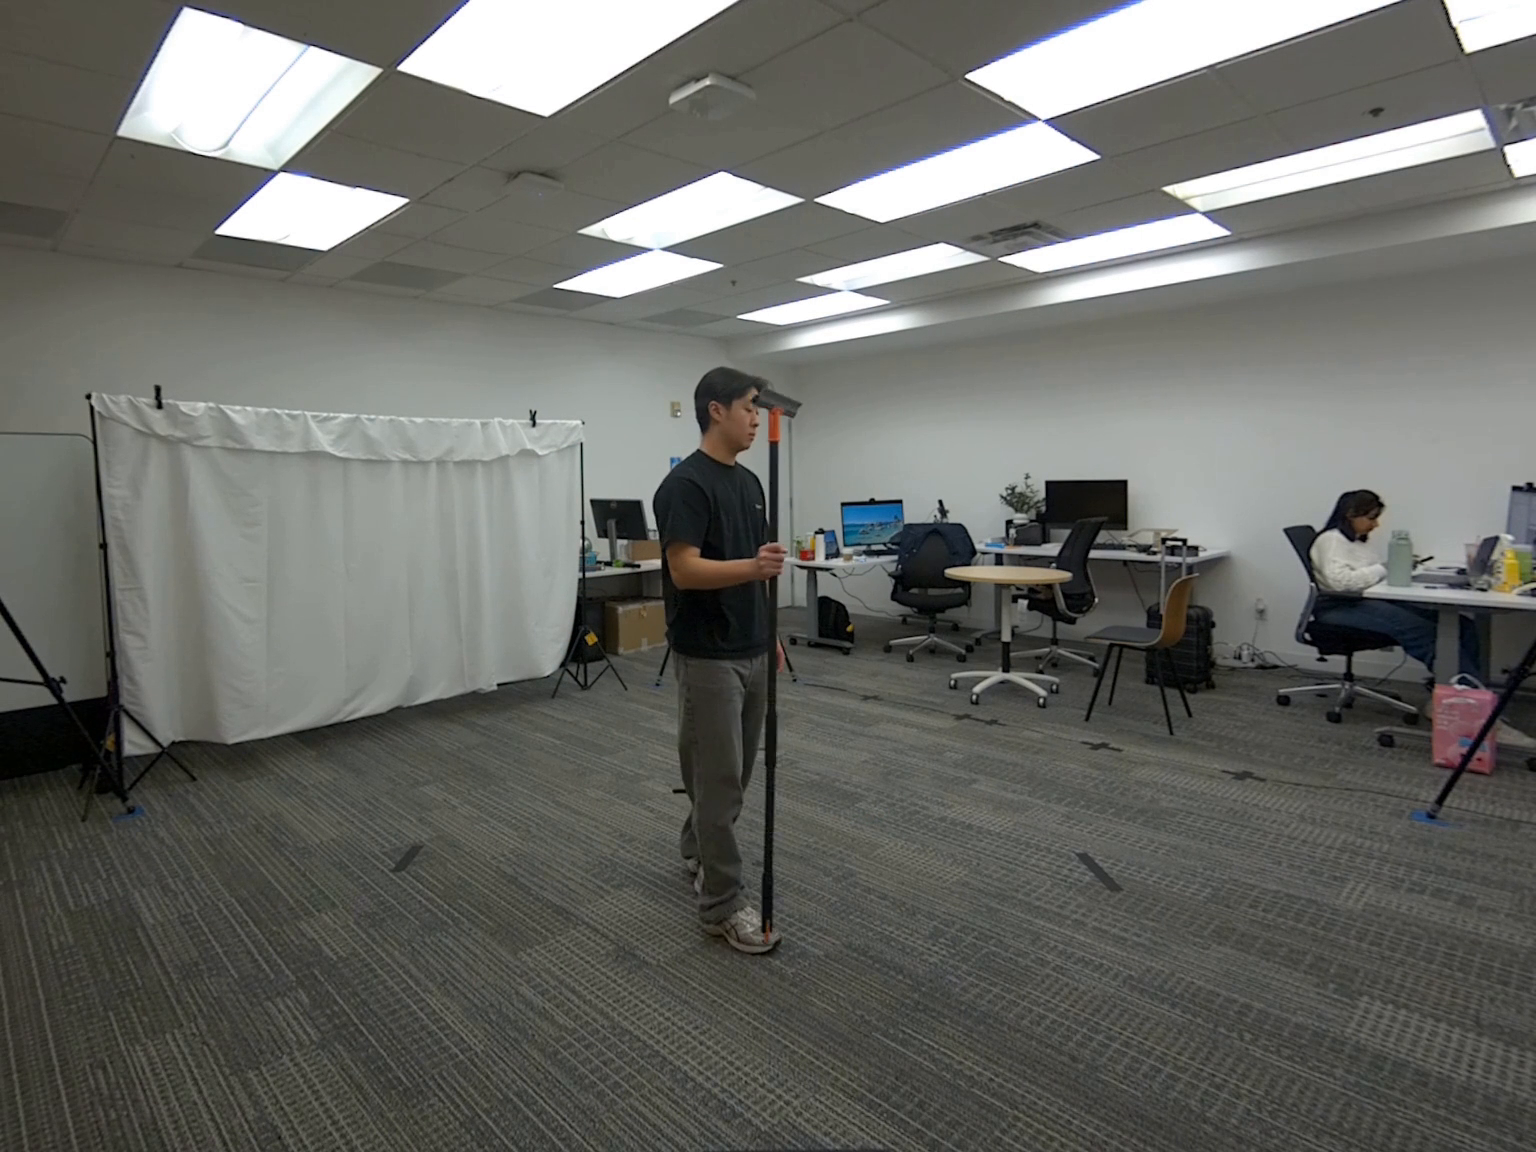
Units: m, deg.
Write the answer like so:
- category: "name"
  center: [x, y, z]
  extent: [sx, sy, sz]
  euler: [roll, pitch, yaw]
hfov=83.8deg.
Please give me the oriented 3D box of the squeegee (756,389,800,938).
- category: "squeegee"
  center: [0.017, 0.276, 2.392]
  extent: [0.054, 1.532, 0.433]
  euler: [2, 4, 13]
